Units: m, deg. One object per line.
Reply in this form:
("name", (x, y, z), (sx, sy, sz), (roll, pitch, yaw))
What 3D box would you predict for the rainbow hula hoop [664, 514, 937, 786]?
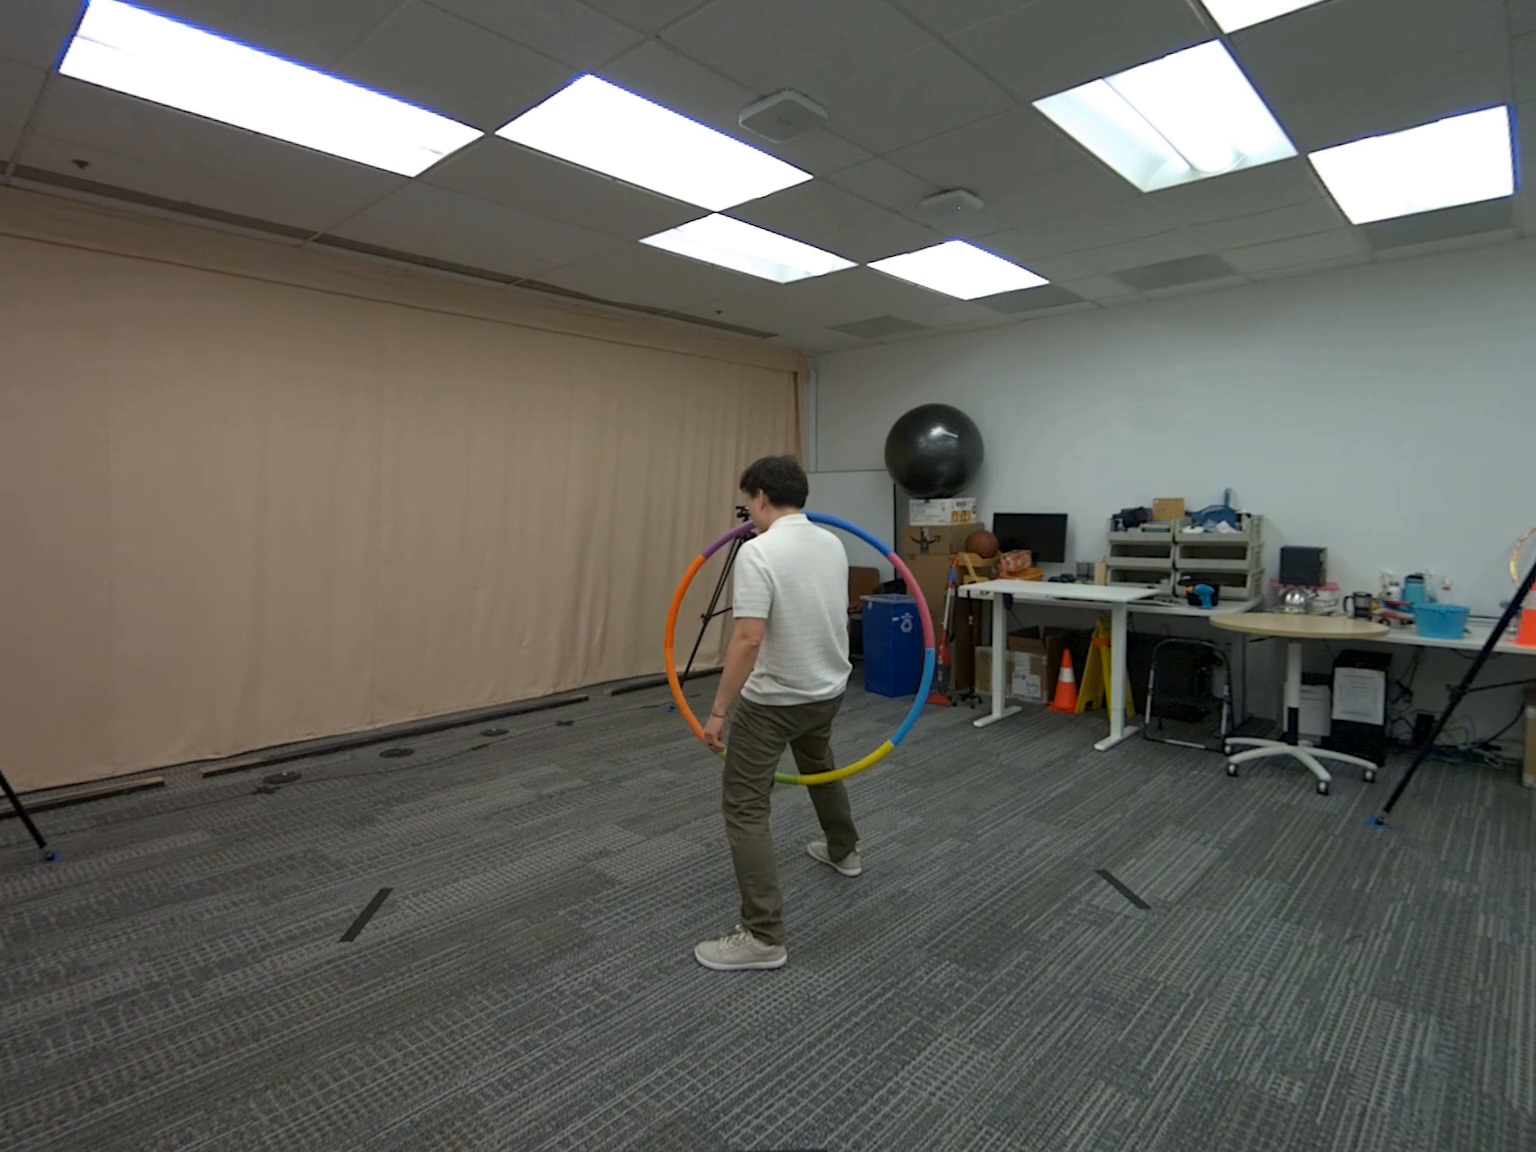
("rainbow hula hoop", (0.109, 0.257, 3.062), (0.988, 0.979, 0.035), (1, 0, 9))
